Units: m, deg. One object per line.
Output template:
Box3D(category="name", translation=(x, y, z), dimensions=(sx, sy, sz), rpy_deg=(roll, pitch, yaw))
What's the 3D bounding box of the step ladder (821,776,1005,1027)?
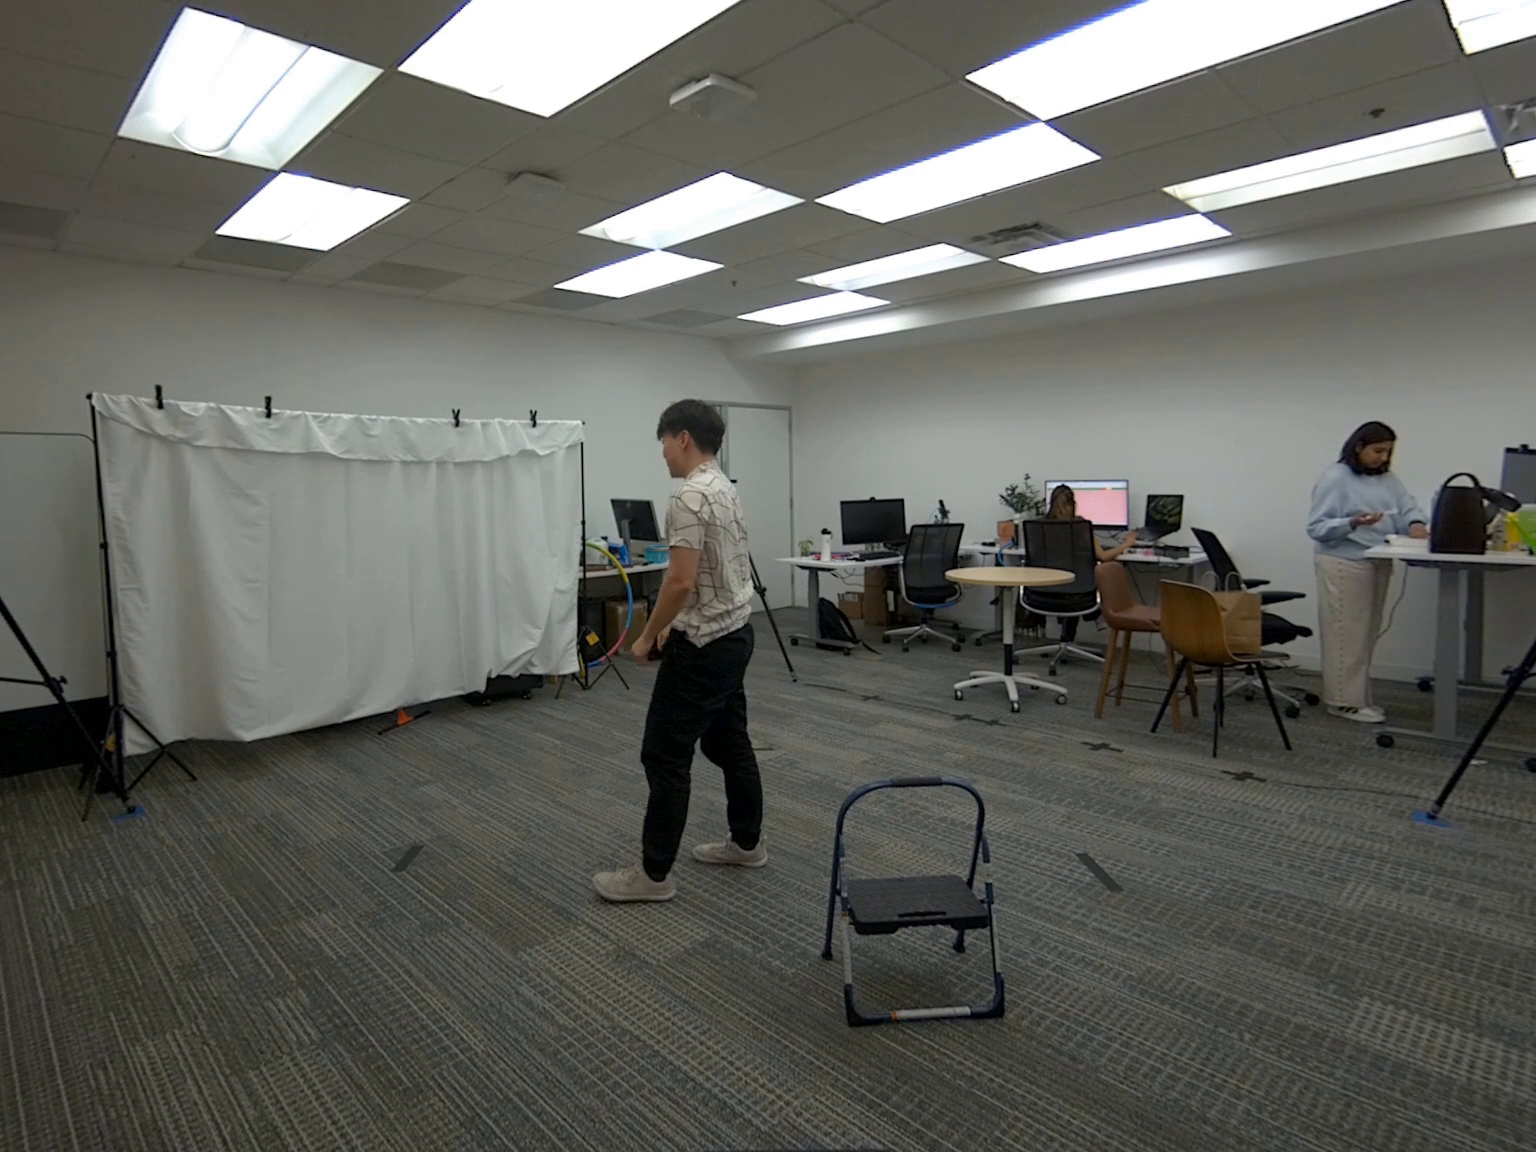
Box3D(category="step ladder", translation=(0.390, 0.829, 2.334), dimensions=(0.428, 0.604, 0.353), rpy_deg=(-1, 4, -6))
